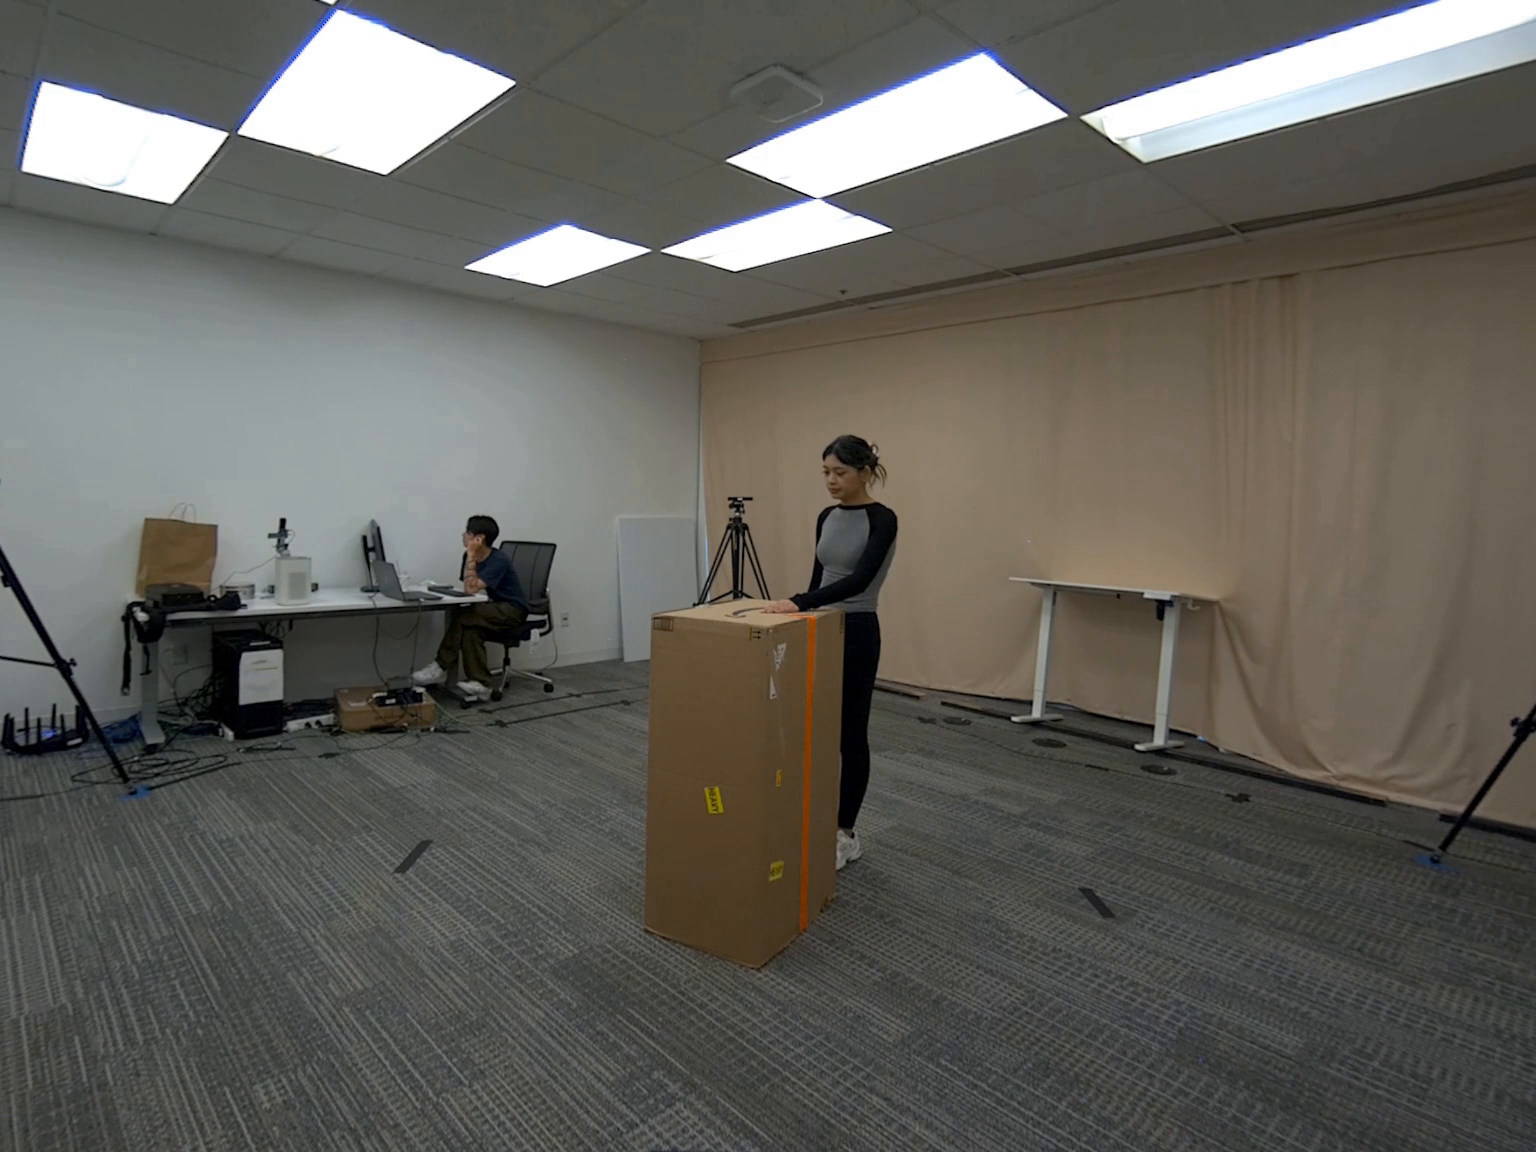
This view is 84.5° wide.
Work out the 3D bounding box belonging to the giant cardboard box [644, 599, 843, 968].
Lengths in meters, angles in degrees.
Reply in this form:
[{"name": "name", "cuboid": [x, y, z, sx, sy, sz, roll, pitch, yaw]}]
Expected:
[{"name": "giant cardboard box", "cuboid": [-0.069, 0.630, 2.804, 0.456, 1.025, 0.573, 2, 3, 29]}]
